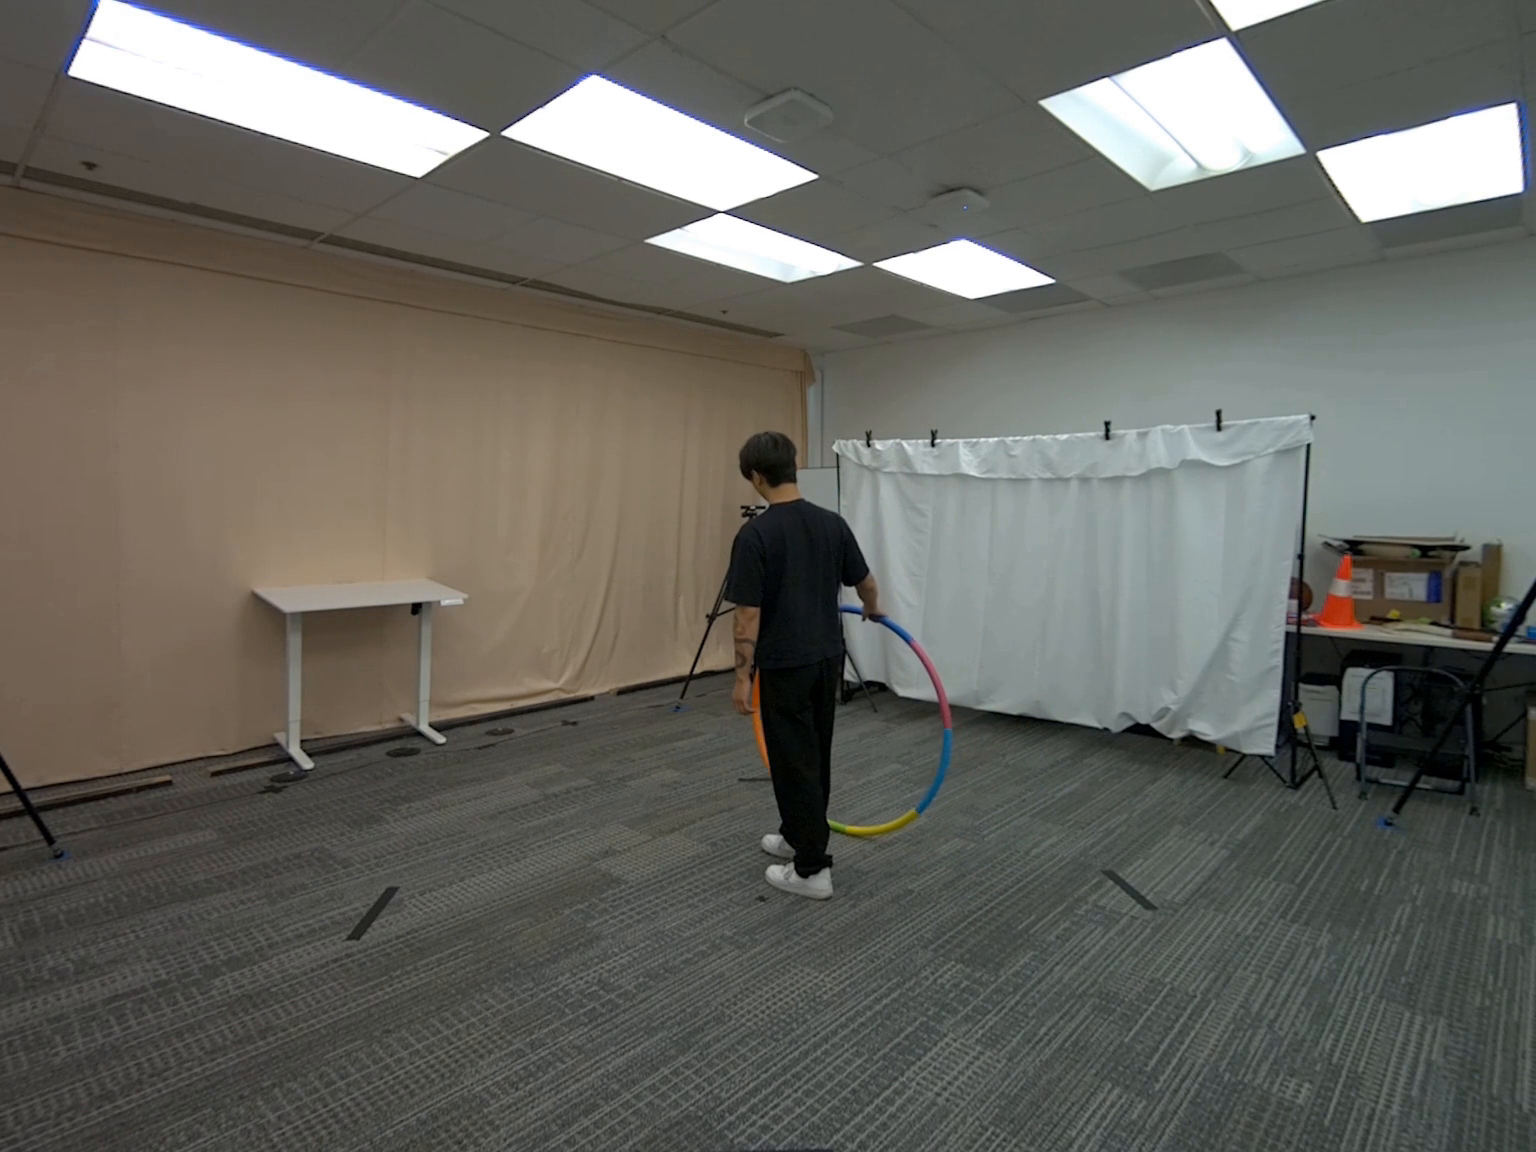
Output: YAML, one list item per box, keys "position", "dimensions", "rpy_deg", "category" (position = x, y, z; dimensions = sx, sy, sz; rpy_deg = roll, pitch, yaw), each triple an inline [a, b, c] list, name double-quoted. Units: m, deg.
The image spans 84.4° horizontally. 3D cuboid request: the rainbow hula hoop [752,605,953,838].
- position: [0.318, 0.607, 3.607]
  dimensions: [1.011, 0.978, 0.034]
  rpy_deg: [3, 0, 41]
  category: "rainbow hula hoop"
